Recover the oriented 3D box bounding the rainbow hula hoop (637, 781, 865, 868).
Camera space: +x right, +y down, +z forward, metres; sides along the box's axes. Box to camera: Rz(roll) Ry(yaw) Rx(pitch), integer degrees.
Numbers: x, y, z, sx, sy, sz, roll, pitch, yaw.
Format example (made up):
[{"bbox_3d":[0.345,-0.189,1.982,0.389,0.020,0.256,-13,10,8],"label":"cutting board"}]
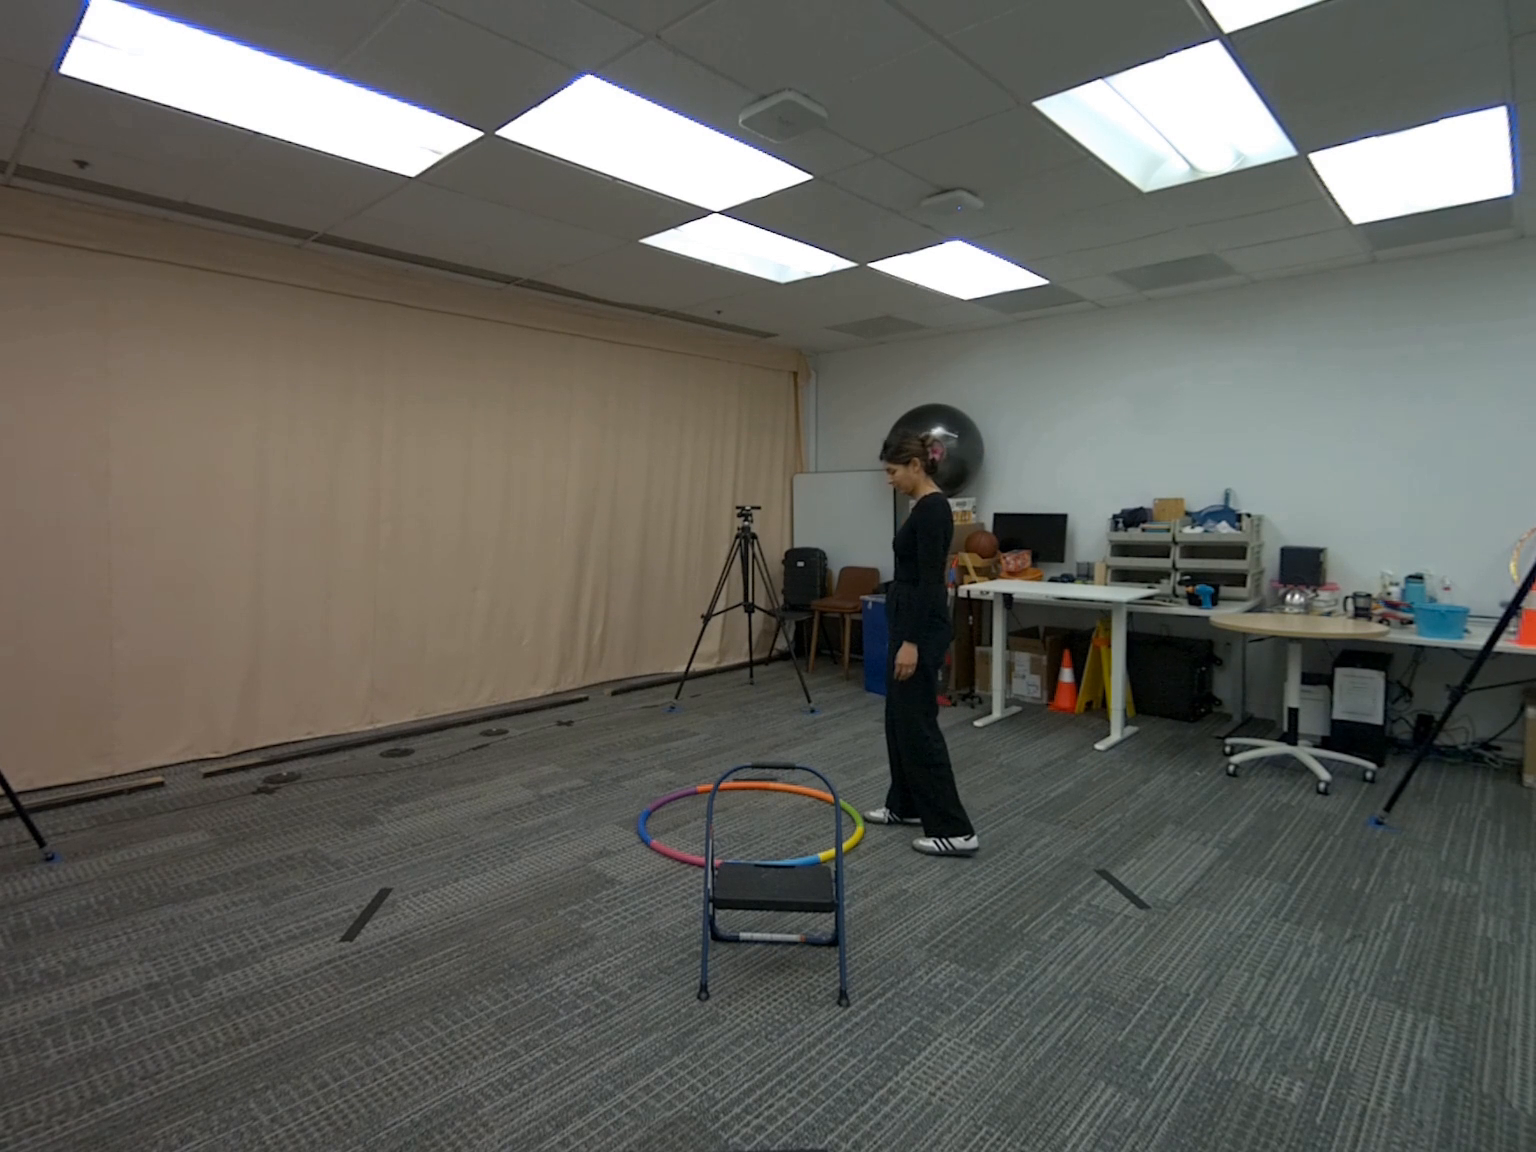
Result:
[{"bbox_3d":[-0.078,1.053,3.674,0.978,0.035,0.982,-1,5,-2],"label":"rainbow hula hoop"}]
